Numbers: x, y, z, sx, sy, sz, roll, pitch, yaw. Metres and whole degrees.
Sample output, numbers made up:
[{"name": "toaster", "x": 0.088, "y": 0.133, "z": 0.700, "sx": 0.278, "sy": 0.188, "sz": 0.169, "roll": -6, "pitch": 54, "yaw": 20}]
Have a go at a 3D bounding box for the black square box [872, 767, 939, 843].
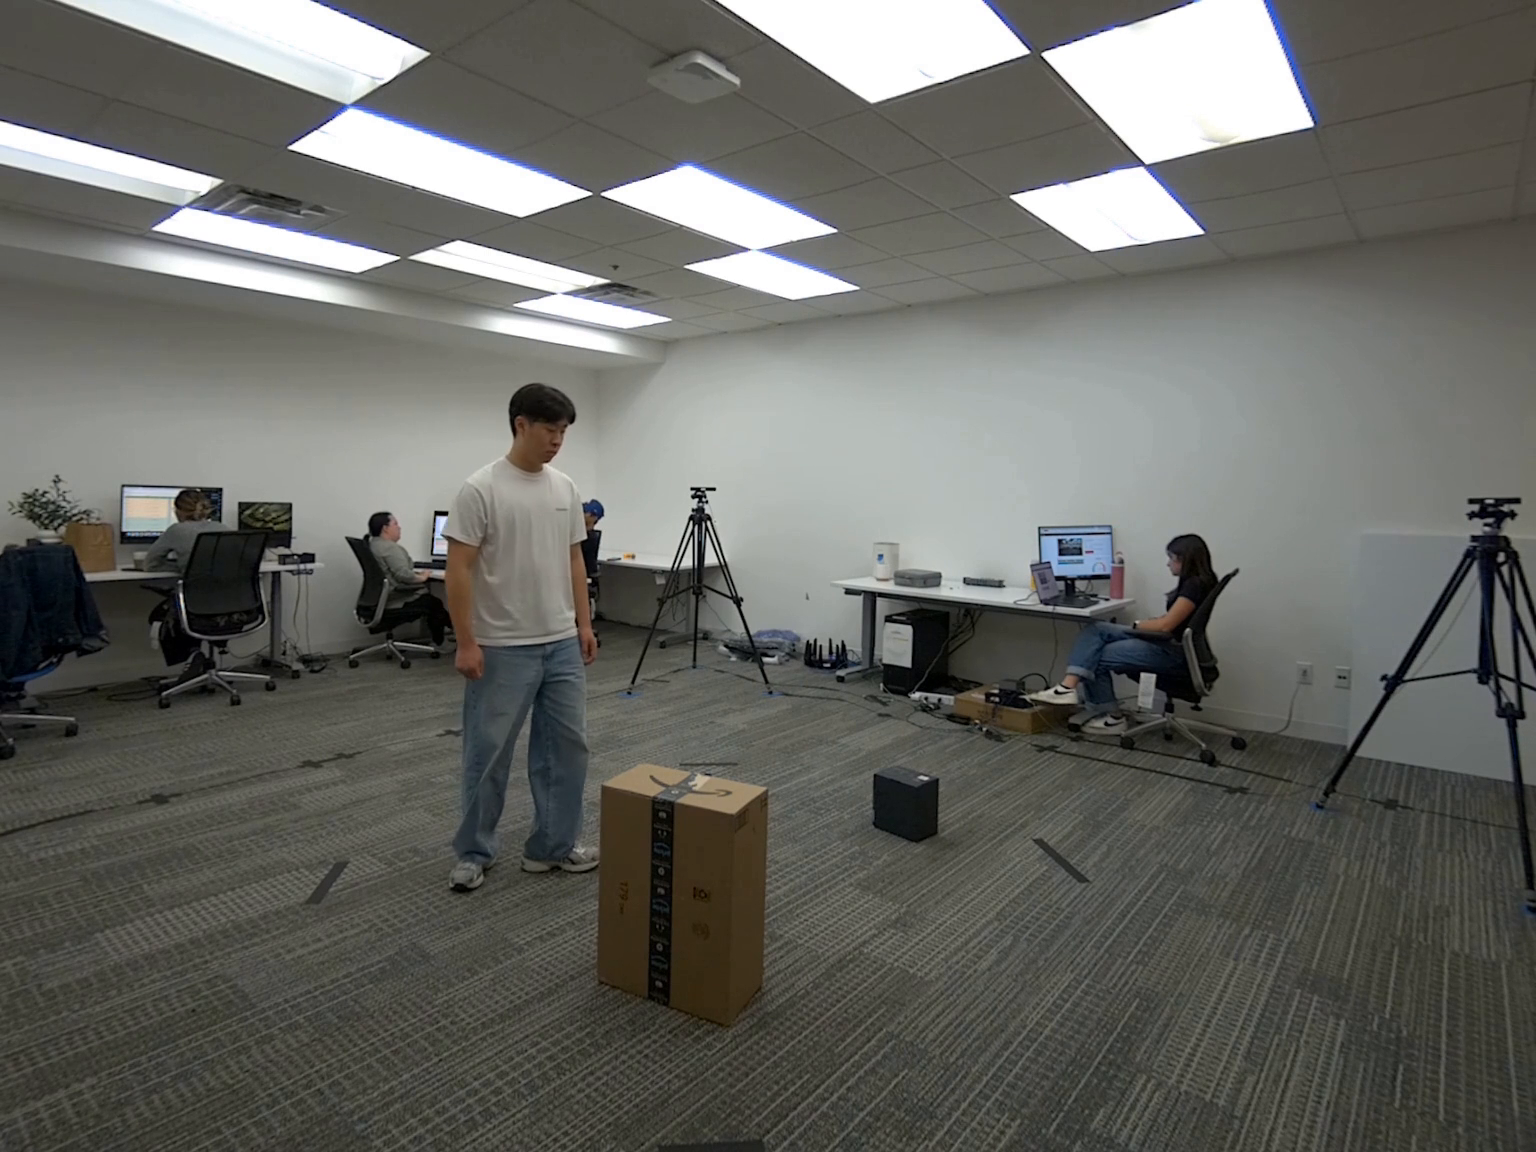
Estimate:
[{"name": "black square box", "x": 0.559, "y": 0.925, "z": 3.500, "sx": 0.151, "sy": 0.227, "sz": 0.224, "roll": -3, "pitch": 5, "yaw": -44}]
